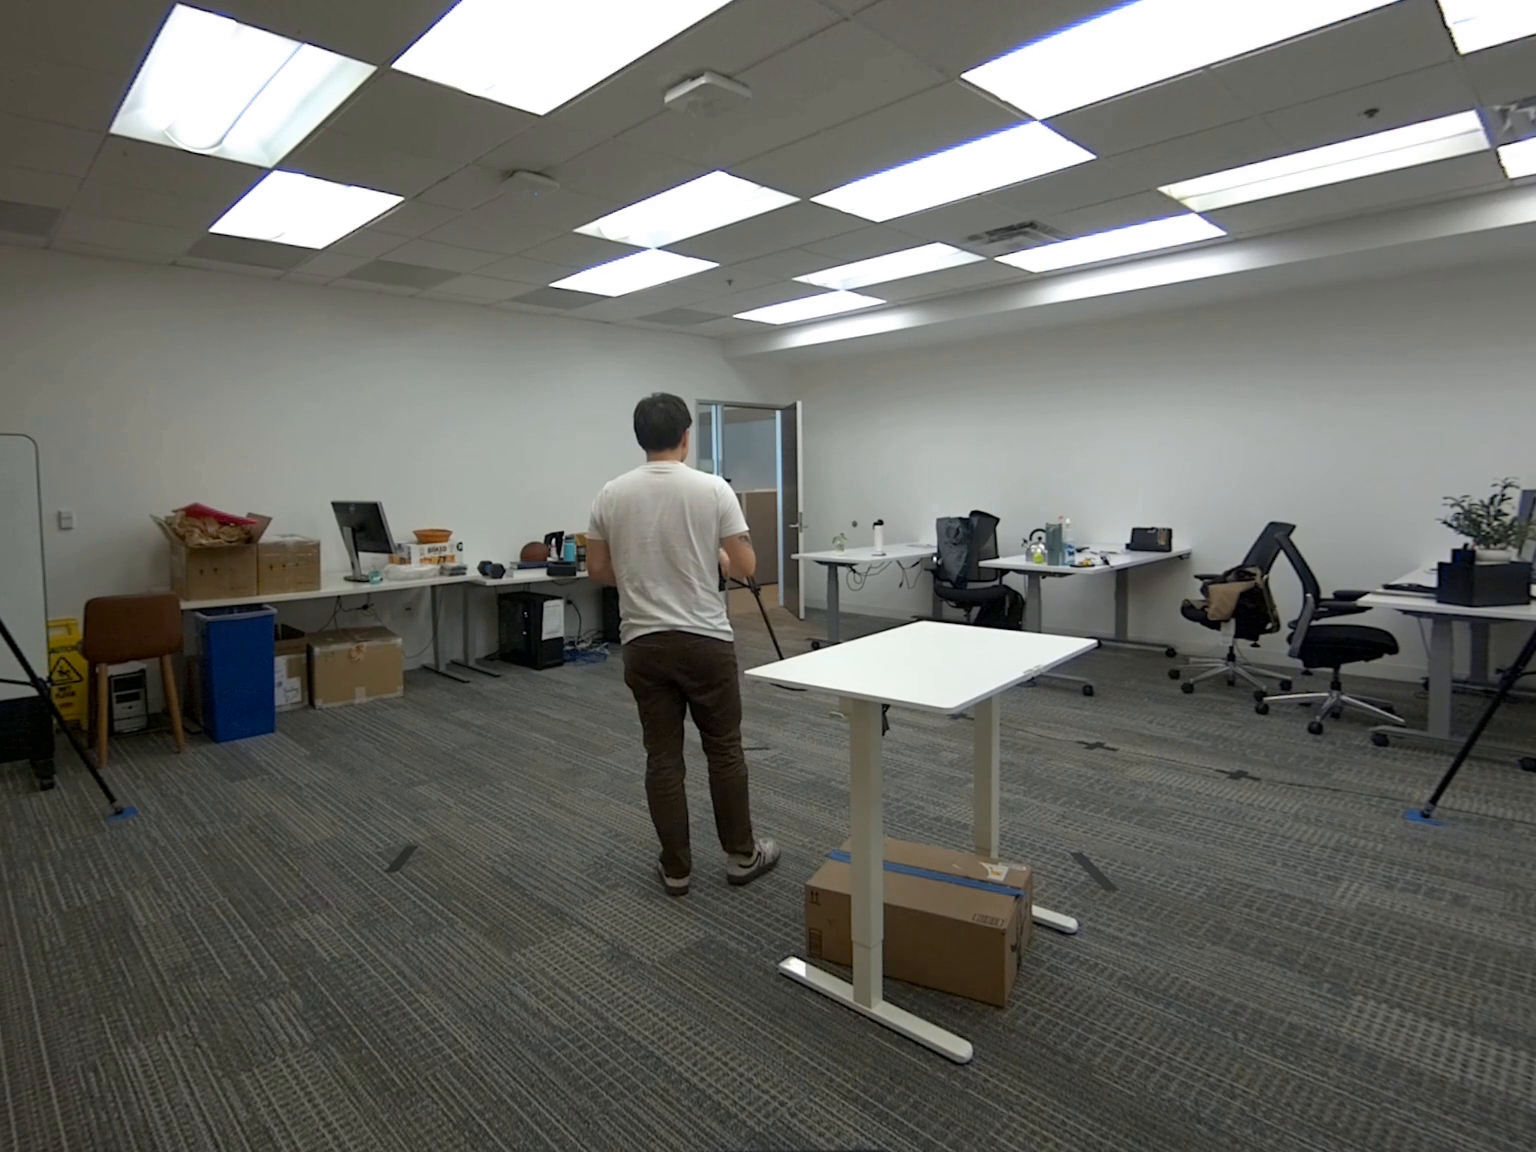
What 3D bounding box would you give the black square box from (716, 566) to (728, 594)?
[{"bbox_3d":[-0.282,-0.035,3.275,0.229,0.154,0.218,-7,13,7],"label":"black square box"}]
